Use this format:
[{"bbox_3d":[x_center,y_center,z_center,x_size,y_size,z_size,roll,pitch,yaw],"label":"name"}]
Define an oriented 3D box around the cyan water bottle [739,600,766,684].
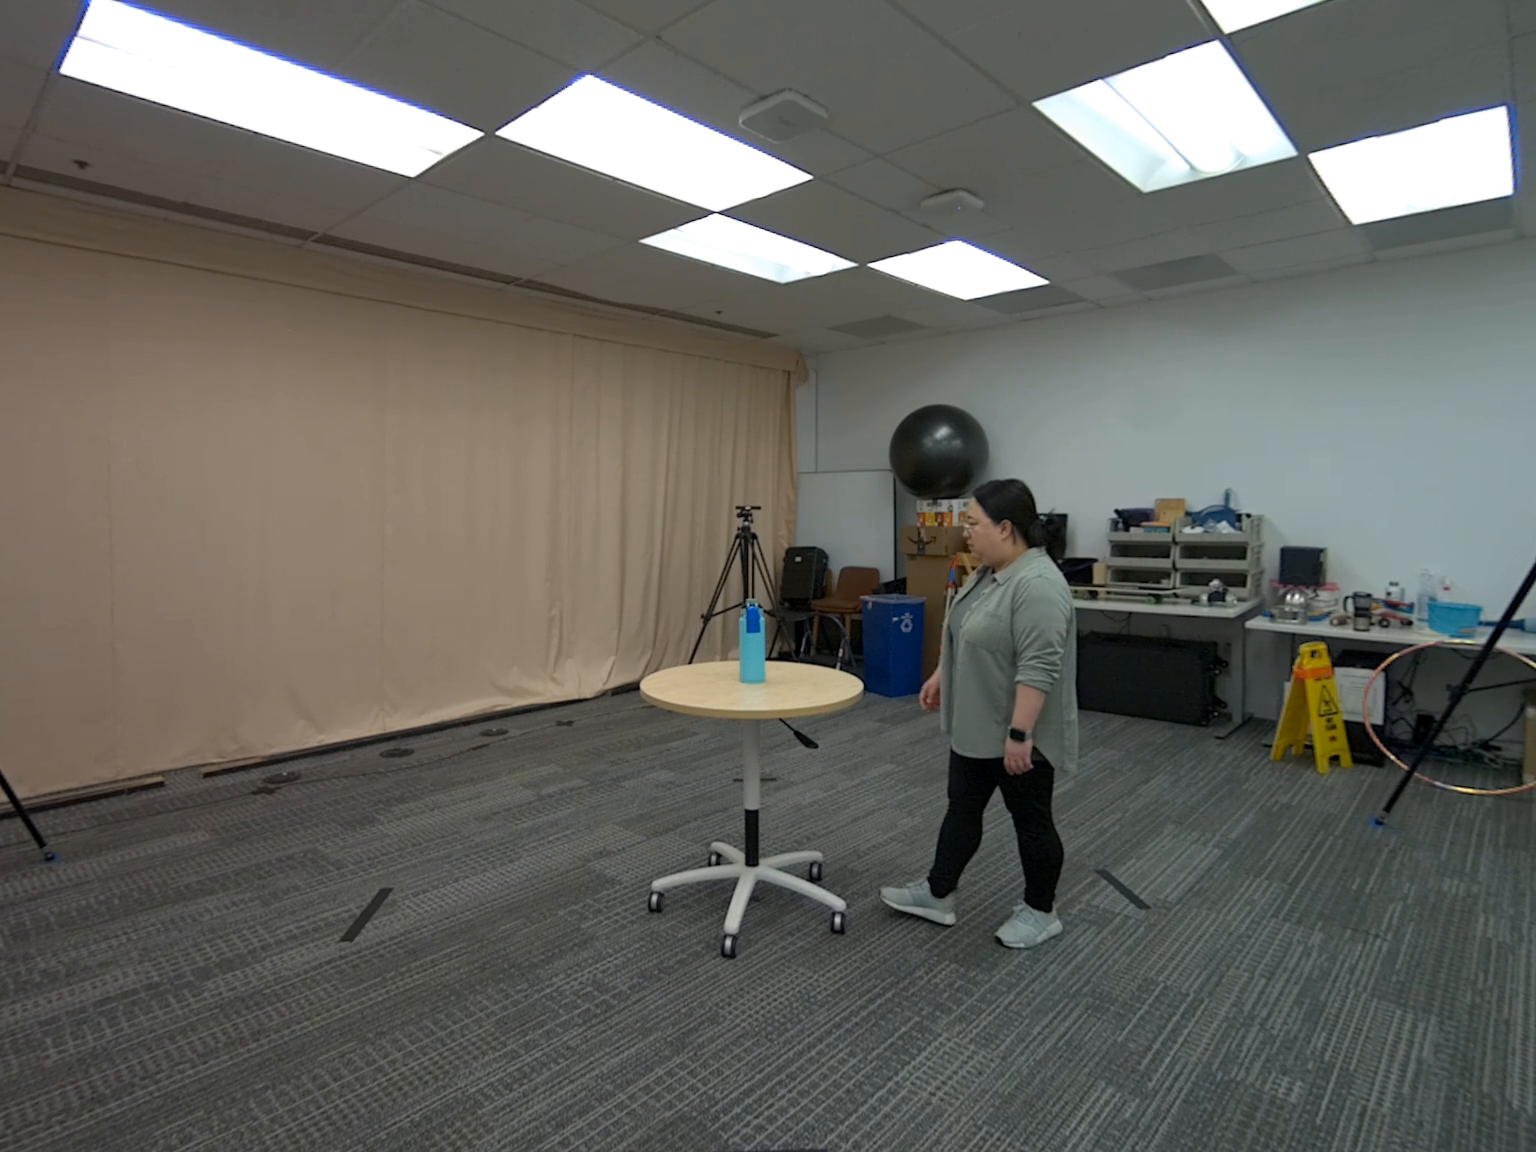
[{"bbox_3d":[-0.047,0.225,2.923,0.092,0.282,0.093,1,5,-2],"label":"cyan water bottle"}]
